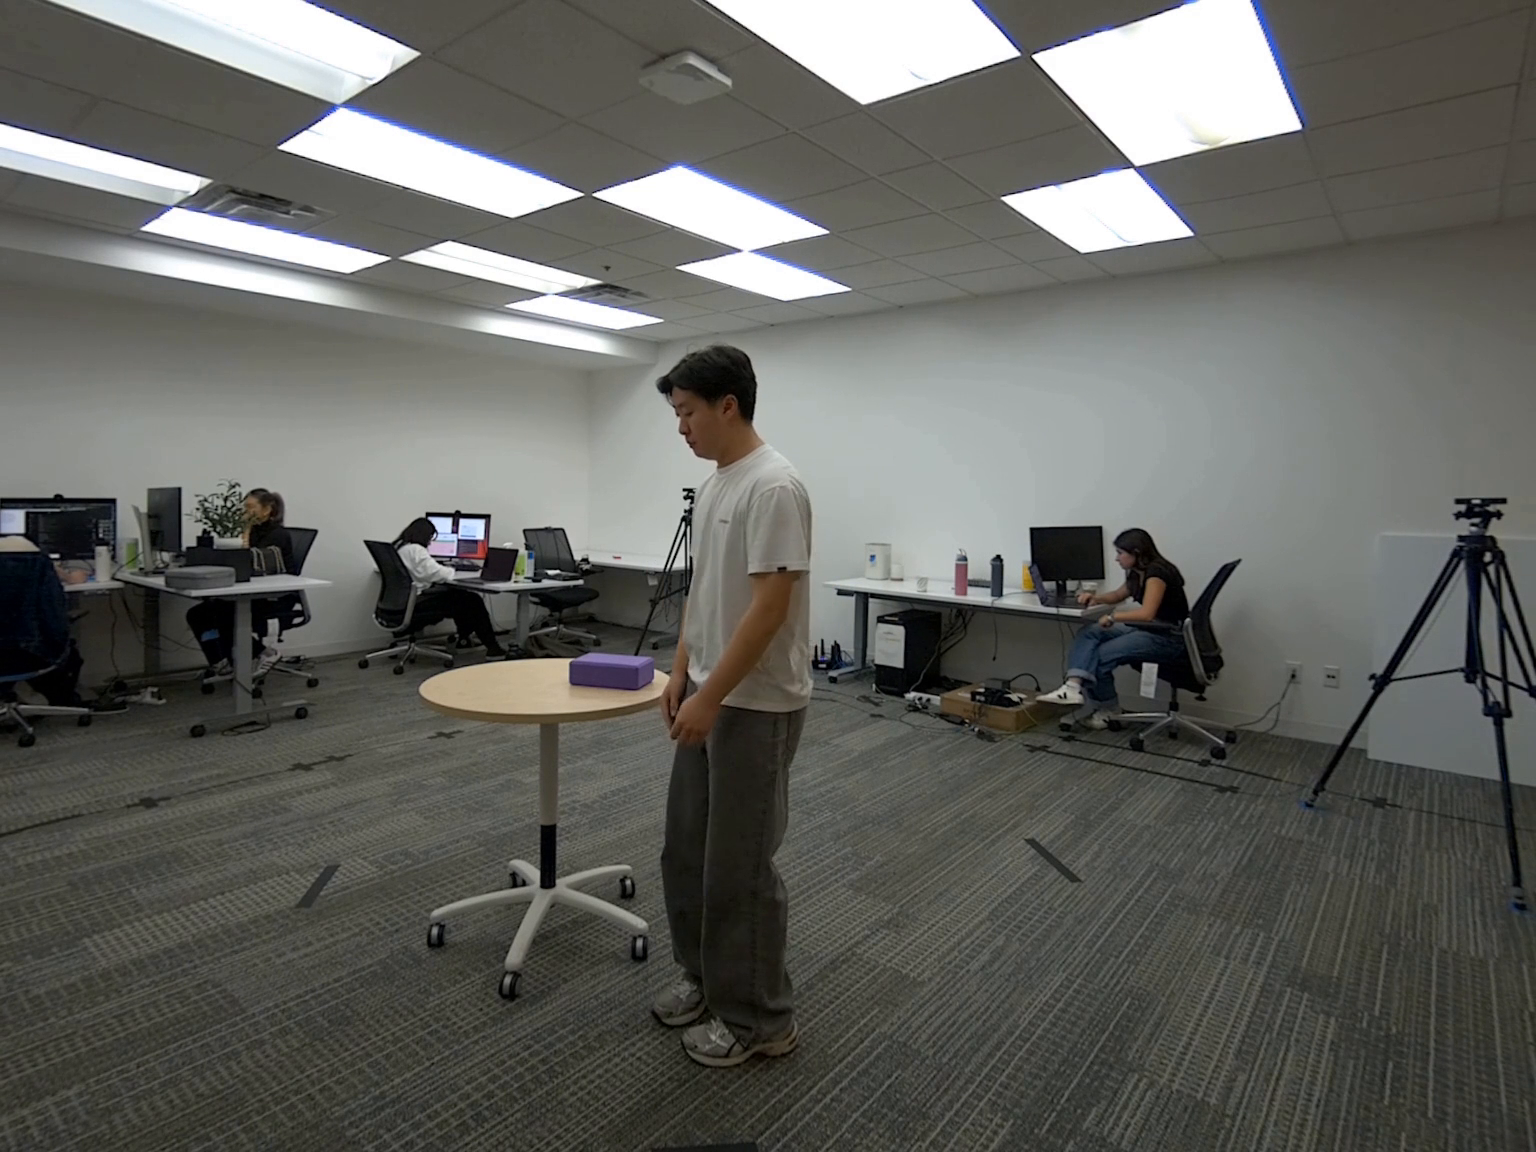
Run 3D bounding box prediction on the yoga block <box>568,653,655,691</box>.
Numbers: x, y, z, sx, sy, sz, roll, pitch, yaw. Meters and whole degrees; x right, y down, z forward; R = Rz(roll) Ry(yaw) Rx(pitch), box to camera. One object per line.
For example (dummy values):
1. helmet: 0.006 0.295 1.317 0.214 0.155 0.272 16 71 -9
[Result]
1. yoga block: -0.488 0.288 2.634 0.233 0.076 0.147 2 5 15
